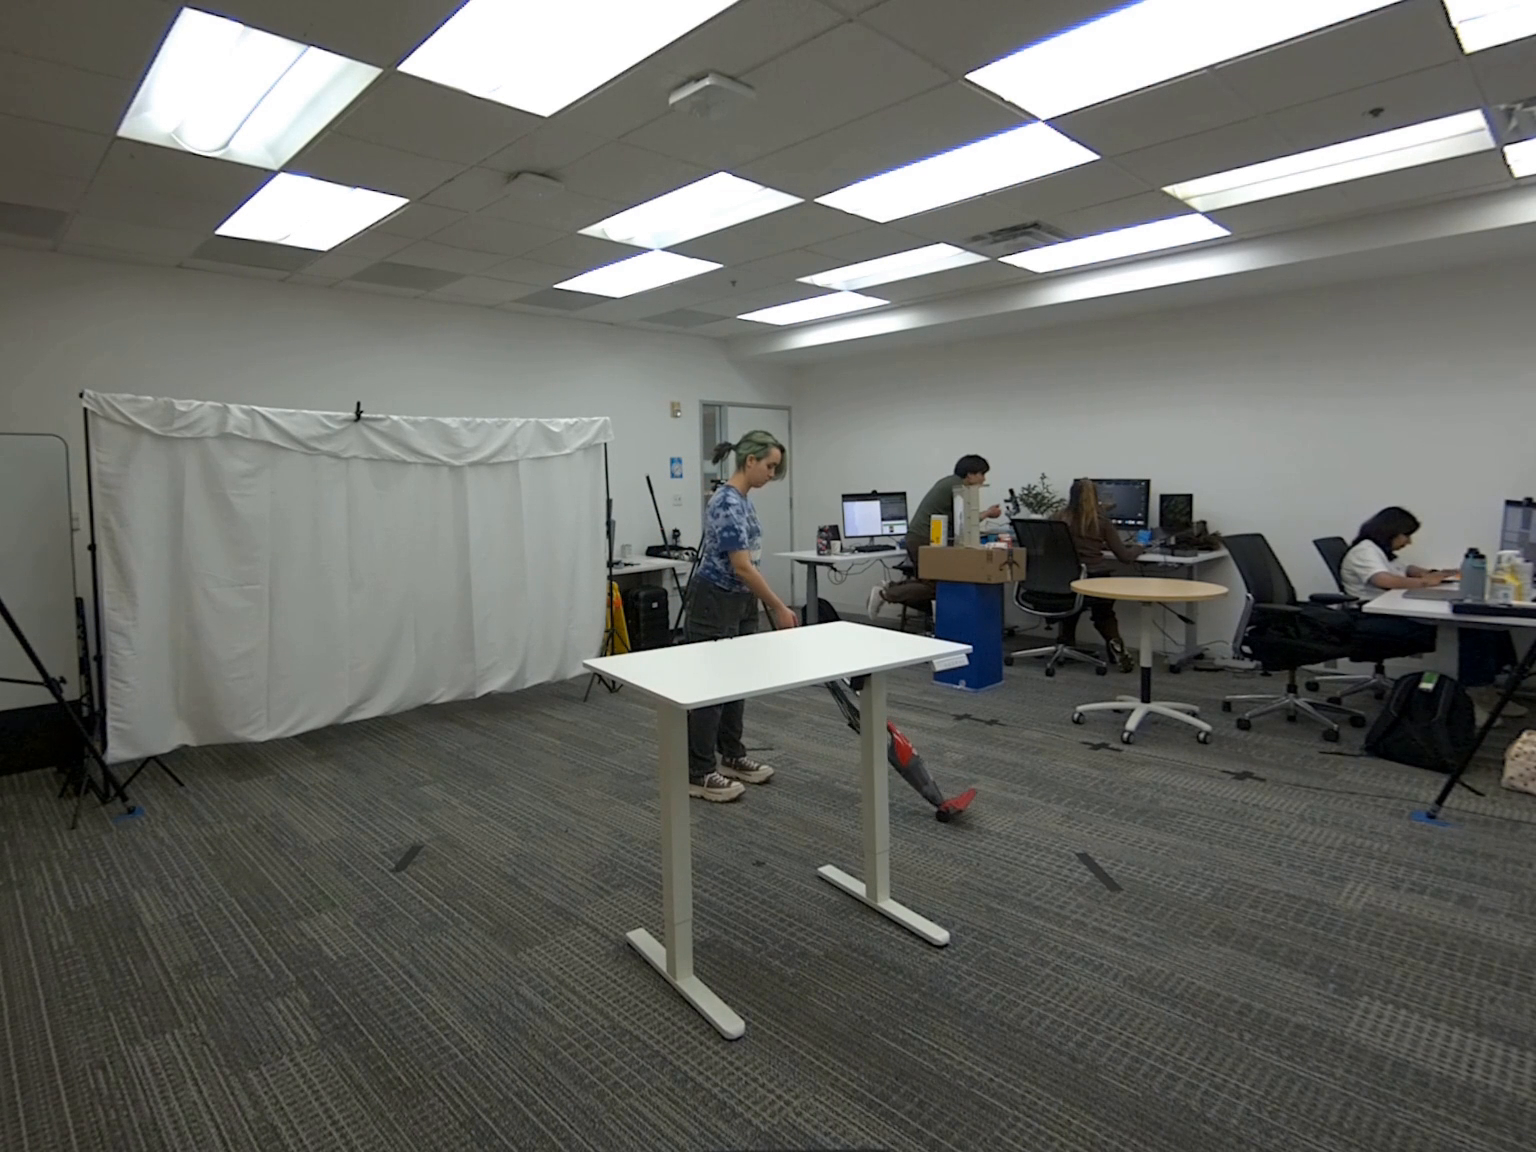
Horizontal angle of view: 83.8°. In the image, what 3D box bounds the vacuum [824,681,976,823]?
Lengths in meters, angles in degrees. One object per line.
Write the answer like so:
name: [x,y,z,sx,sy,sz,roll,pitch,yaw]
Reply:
vacuum: [0.421,0.601,3.668,1.078,0.143,0.247,45,24,21]
